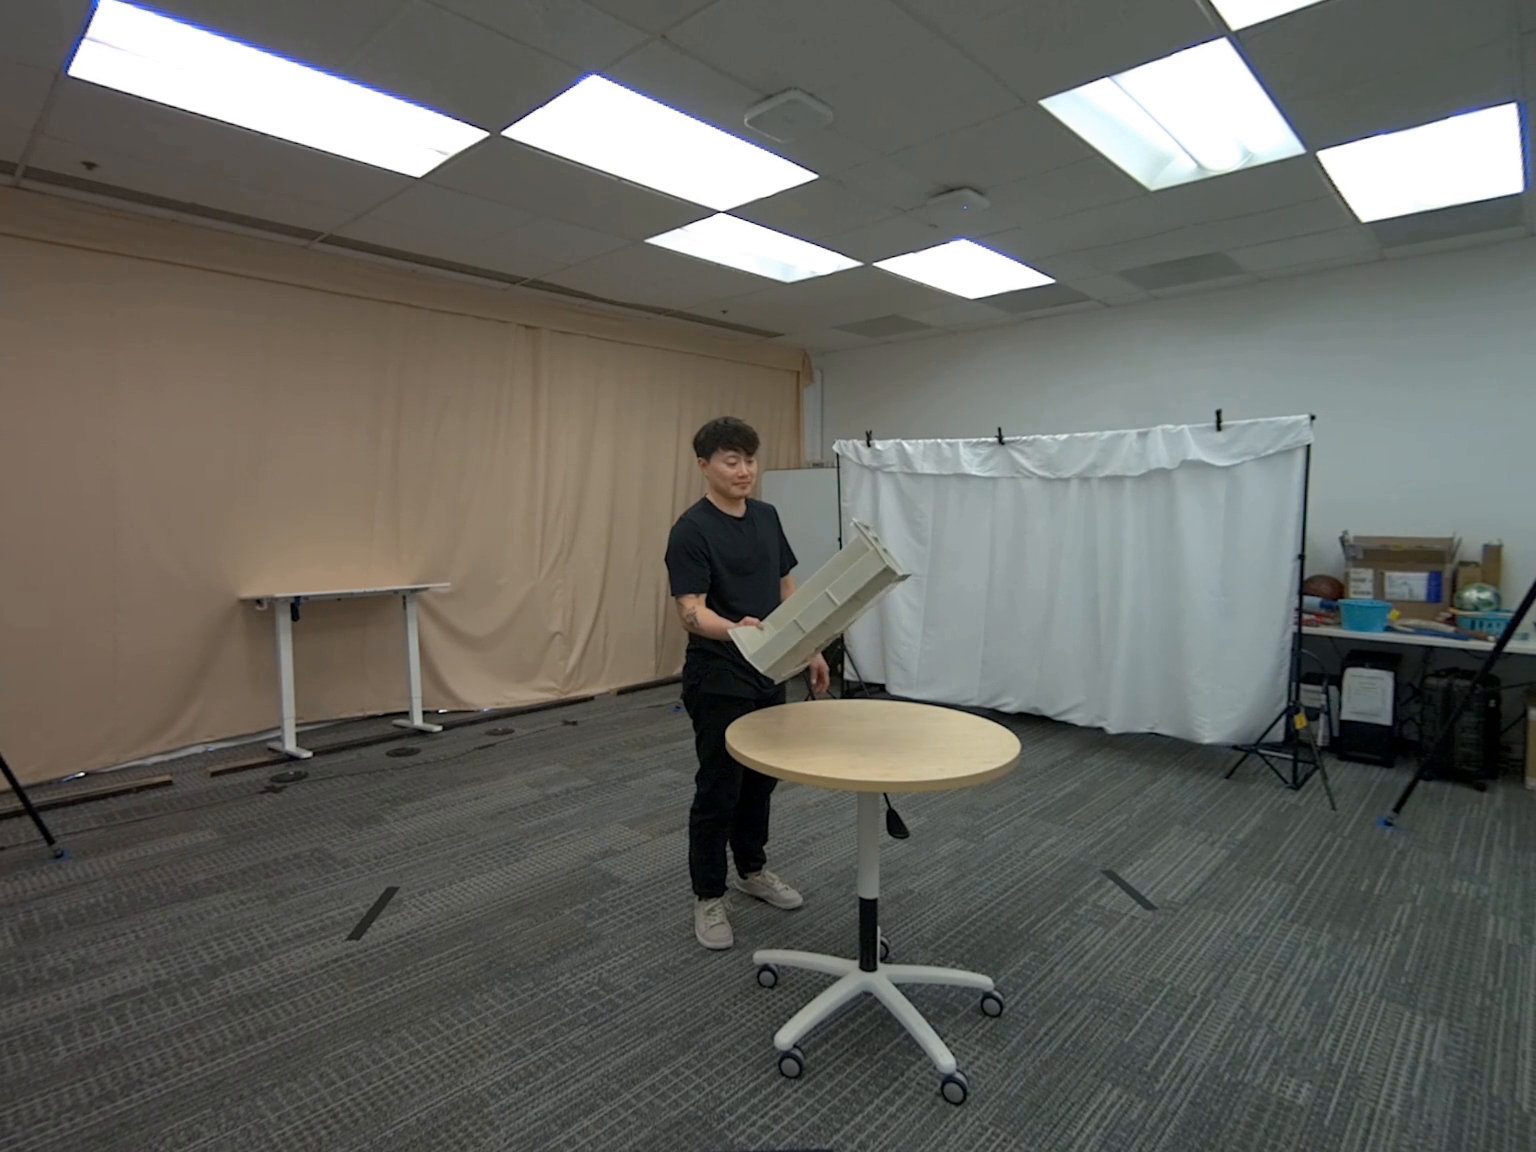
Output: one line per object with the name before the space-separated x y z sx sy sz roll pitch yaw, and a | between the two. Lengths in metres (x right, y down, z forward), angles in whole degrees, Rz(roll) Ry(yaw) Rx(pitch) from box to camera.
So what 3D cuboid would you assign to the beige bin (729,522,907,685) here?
beige bin | 0.153 0.062 2.176 0.424 0.192 0.370 -43 -11 12
